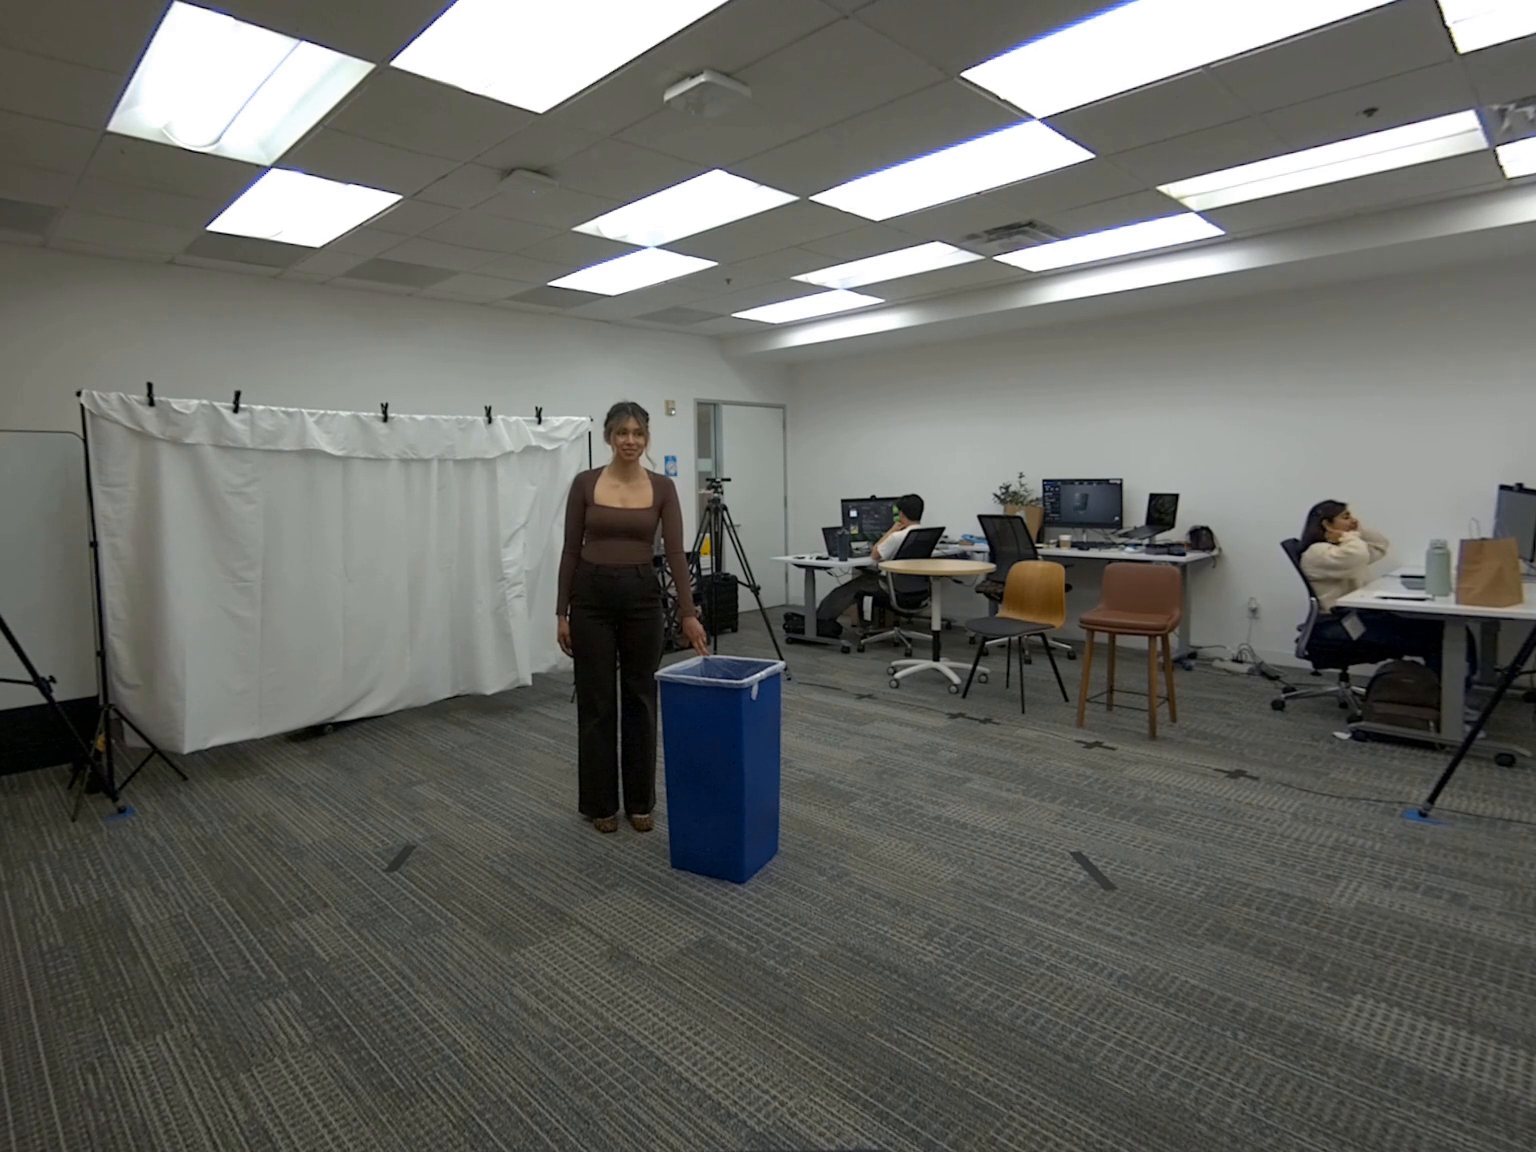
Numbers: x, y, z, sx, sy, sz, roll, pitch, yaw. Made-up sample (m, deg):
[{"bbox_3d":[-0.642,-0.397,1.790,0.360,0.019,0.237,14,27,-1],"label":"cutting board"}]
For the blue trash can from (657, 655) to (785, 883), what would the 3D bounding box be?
[{"bbox_3d":[-0.165,0.683,3.119,0.383,0.711,0.370,2,4,27],"label":"blue trash can"}]
